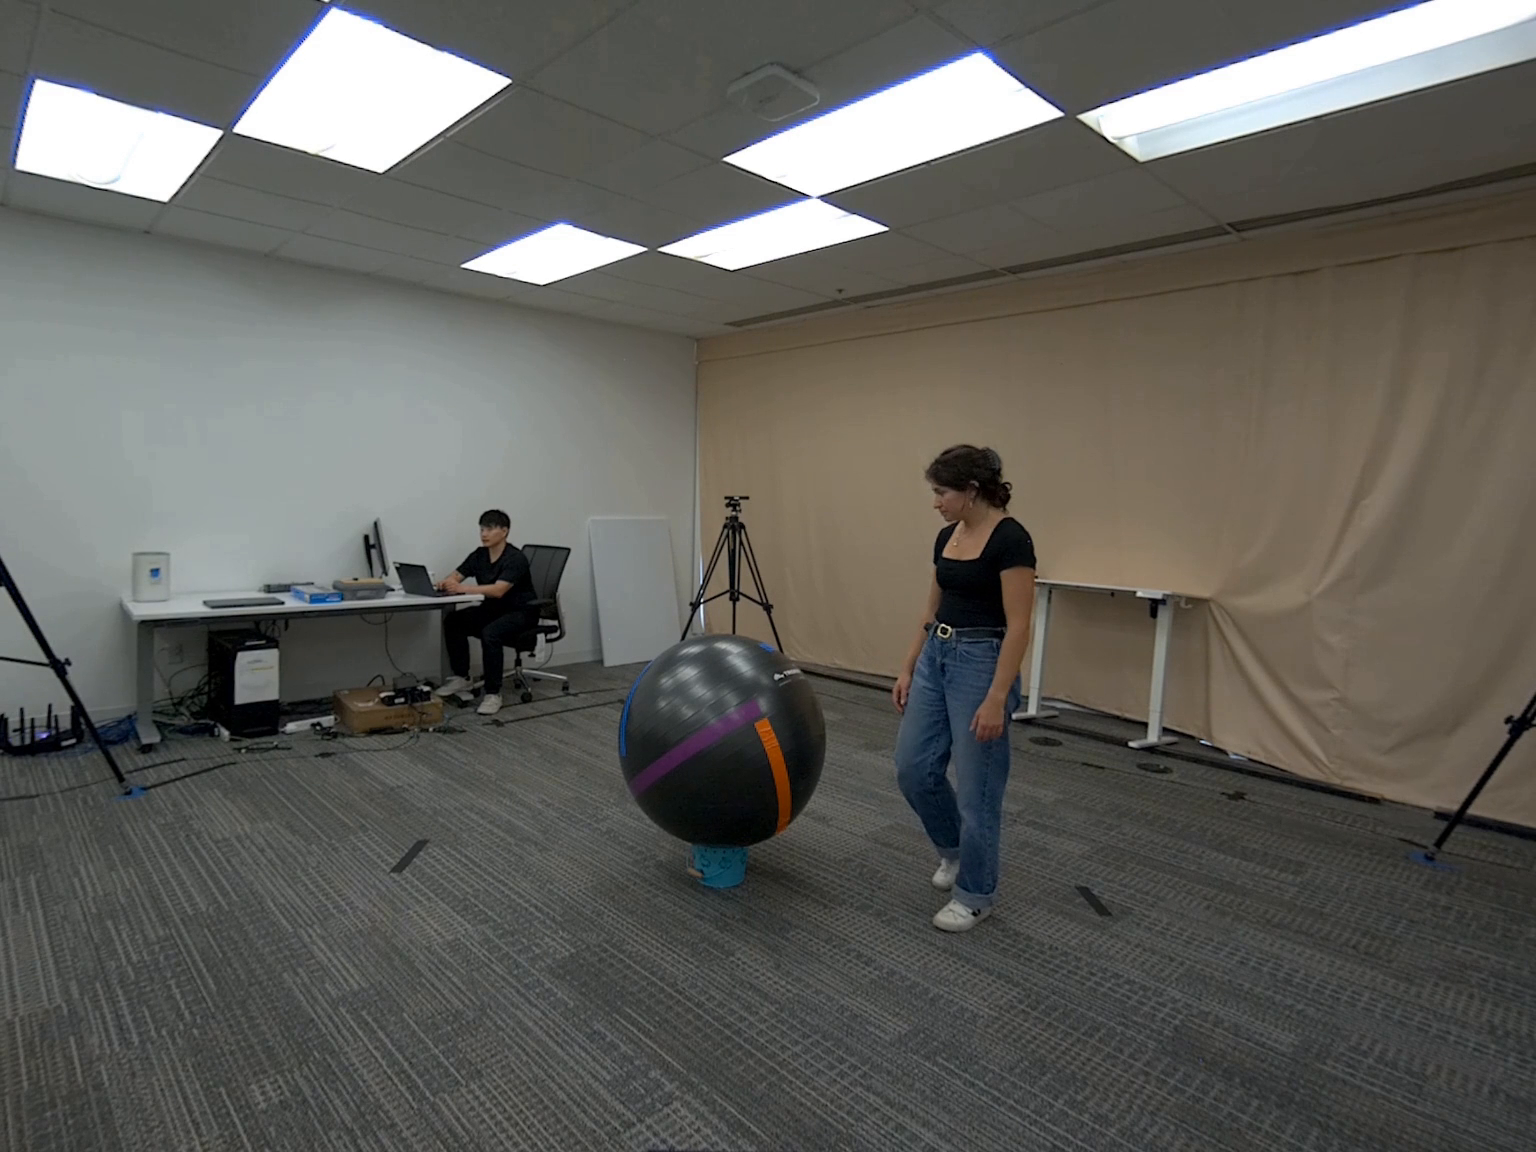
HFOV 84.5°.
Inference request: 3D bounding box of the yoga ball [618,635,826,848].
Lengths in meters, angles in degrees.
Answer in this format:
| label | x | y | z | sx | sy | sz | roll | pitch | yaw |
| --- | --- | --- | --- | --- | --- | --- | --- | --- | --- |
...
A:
| label | x | y | z | sx | sy | sz | roll | pitch | yaw |
| --- | --- | --- | --- | --- | --- | --- | --- | --- | --- |
| yoga ball | -0.174 | 0.597 | 3.064 | 0.757 | 0.756 | 0.761 | 1 | 4 | -1 |
